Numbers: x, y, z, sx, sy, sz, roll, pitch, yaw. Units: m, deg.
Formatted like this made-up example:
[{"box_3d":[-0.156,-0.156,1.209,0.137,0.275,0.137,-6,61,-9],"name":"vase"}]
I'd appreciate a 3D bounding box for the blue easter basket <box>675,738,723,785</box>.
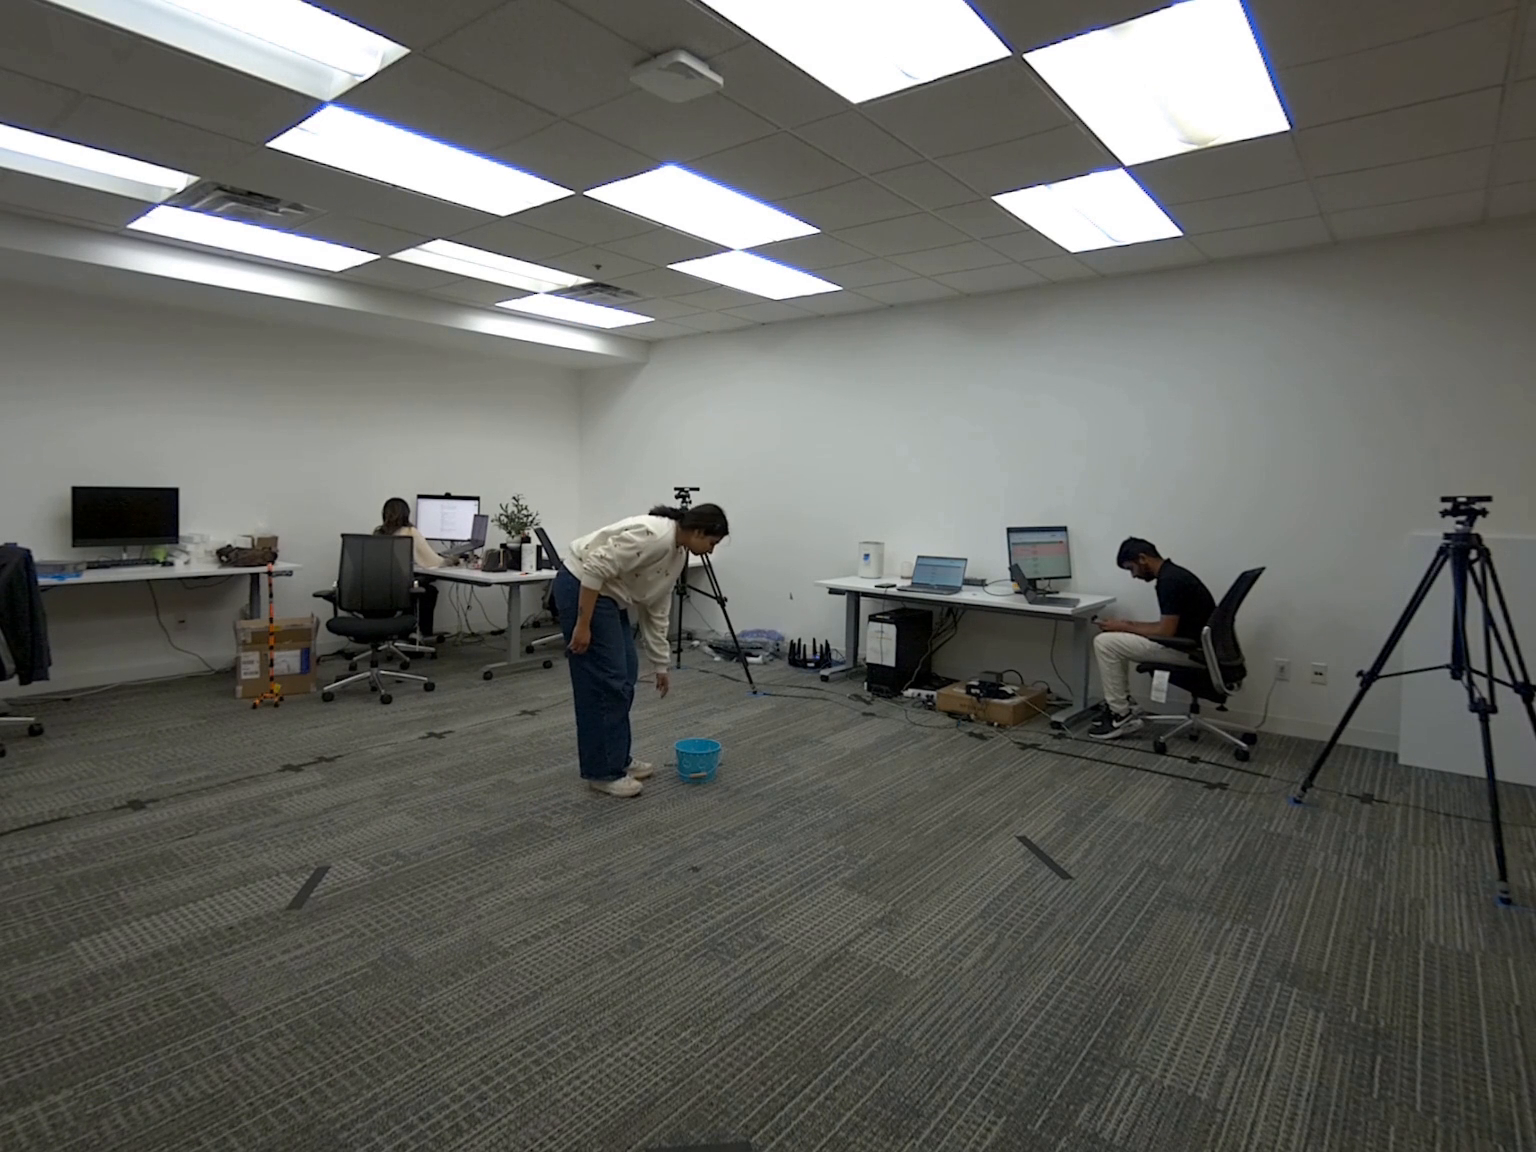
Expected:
[{"box_3d":[-0.347,0.893,4.109,0.243,0.155,0.245,0,5,-2],"name":"blue easter basket"}]
